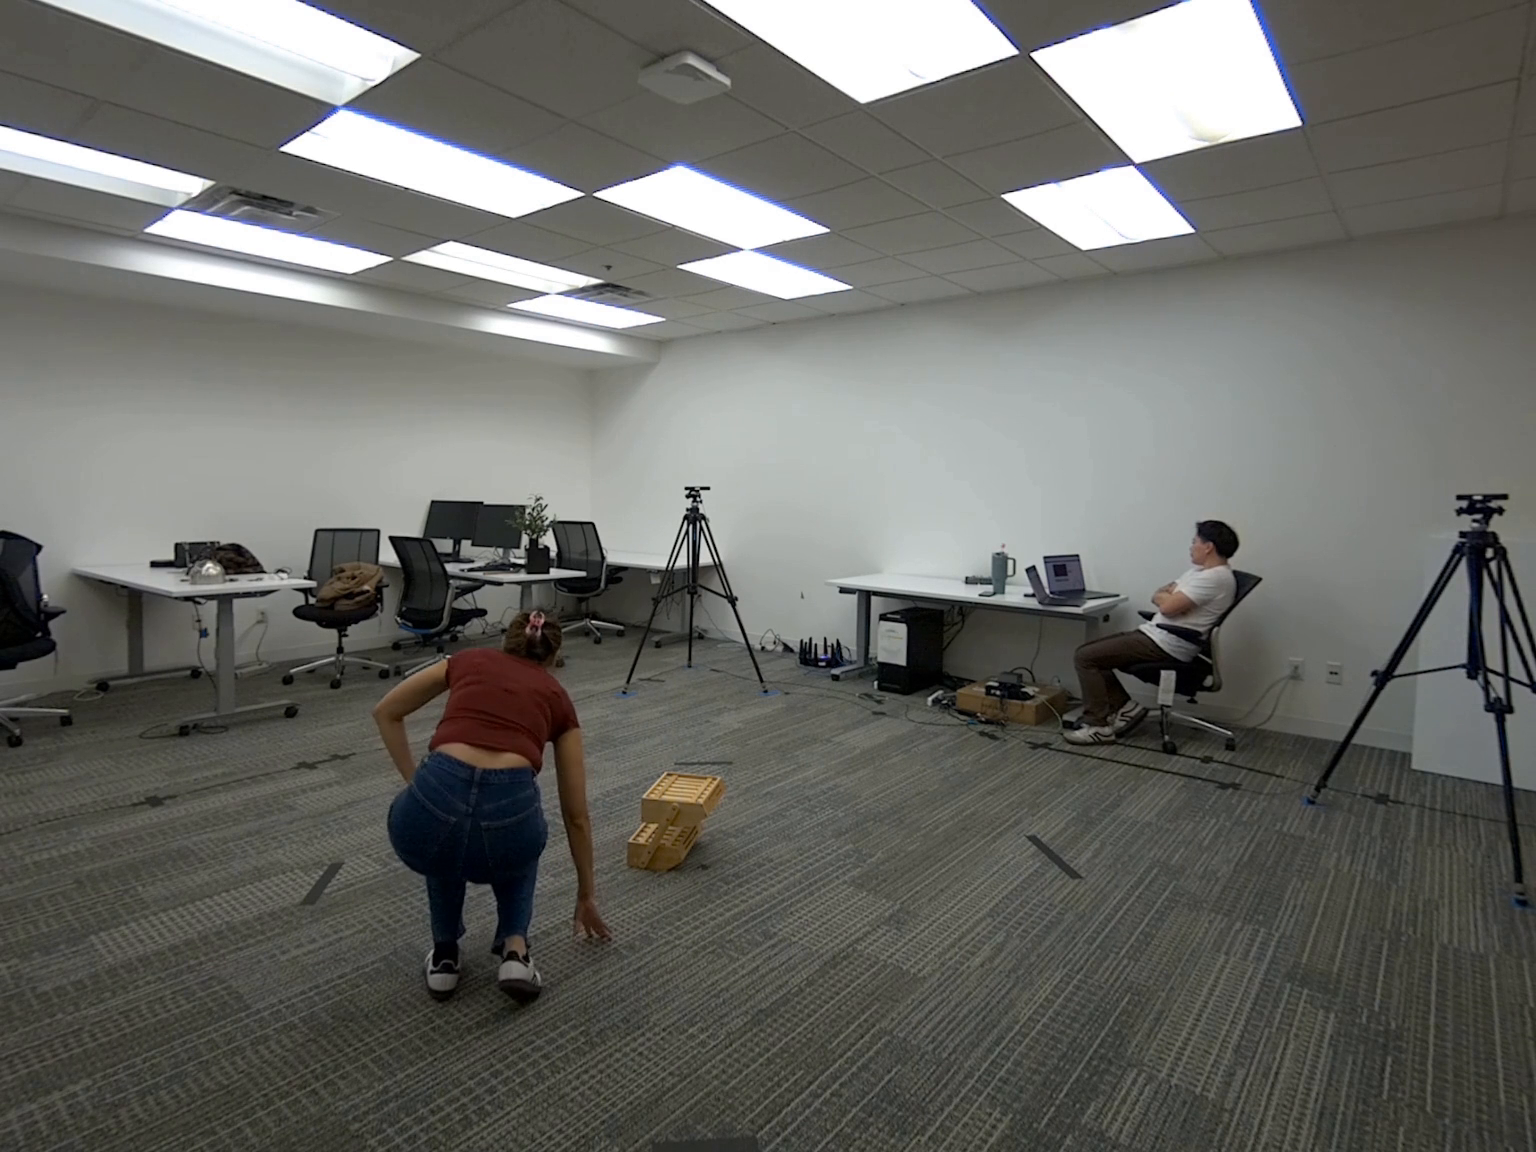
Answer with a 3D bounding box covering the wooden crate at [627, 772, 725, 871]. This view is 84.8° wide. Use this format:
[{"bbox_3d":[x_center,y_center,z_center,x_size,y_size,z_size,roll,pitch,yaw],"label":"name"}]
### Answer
[{"bbox_3d":[-0.350,0.924,3.218,0.306,0.272,0.321,2,4,11],"label":"wooden crate"}]
